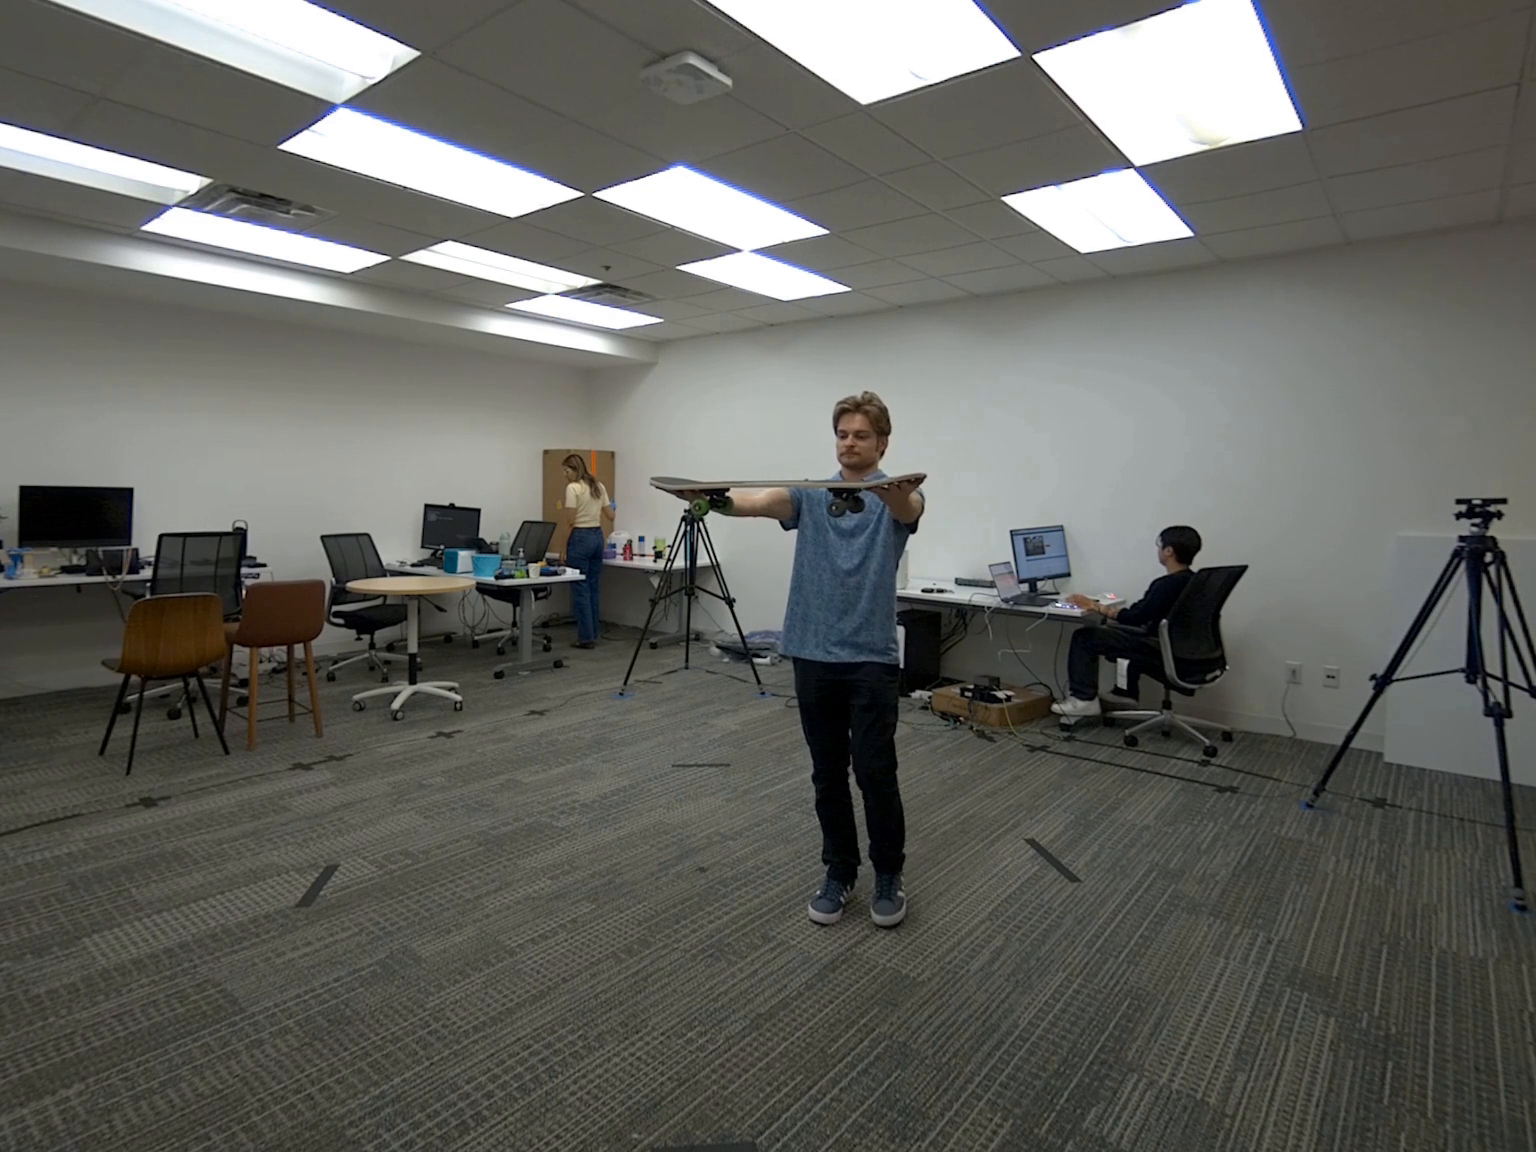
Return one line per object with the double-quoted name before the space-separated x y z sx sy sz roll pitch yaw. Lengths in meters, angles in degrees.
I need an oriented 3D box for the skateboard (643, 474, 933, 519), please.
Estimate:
"skateboard" 0.039 -0.222 2.337 0.806 0.110 0.189 2 6 26
